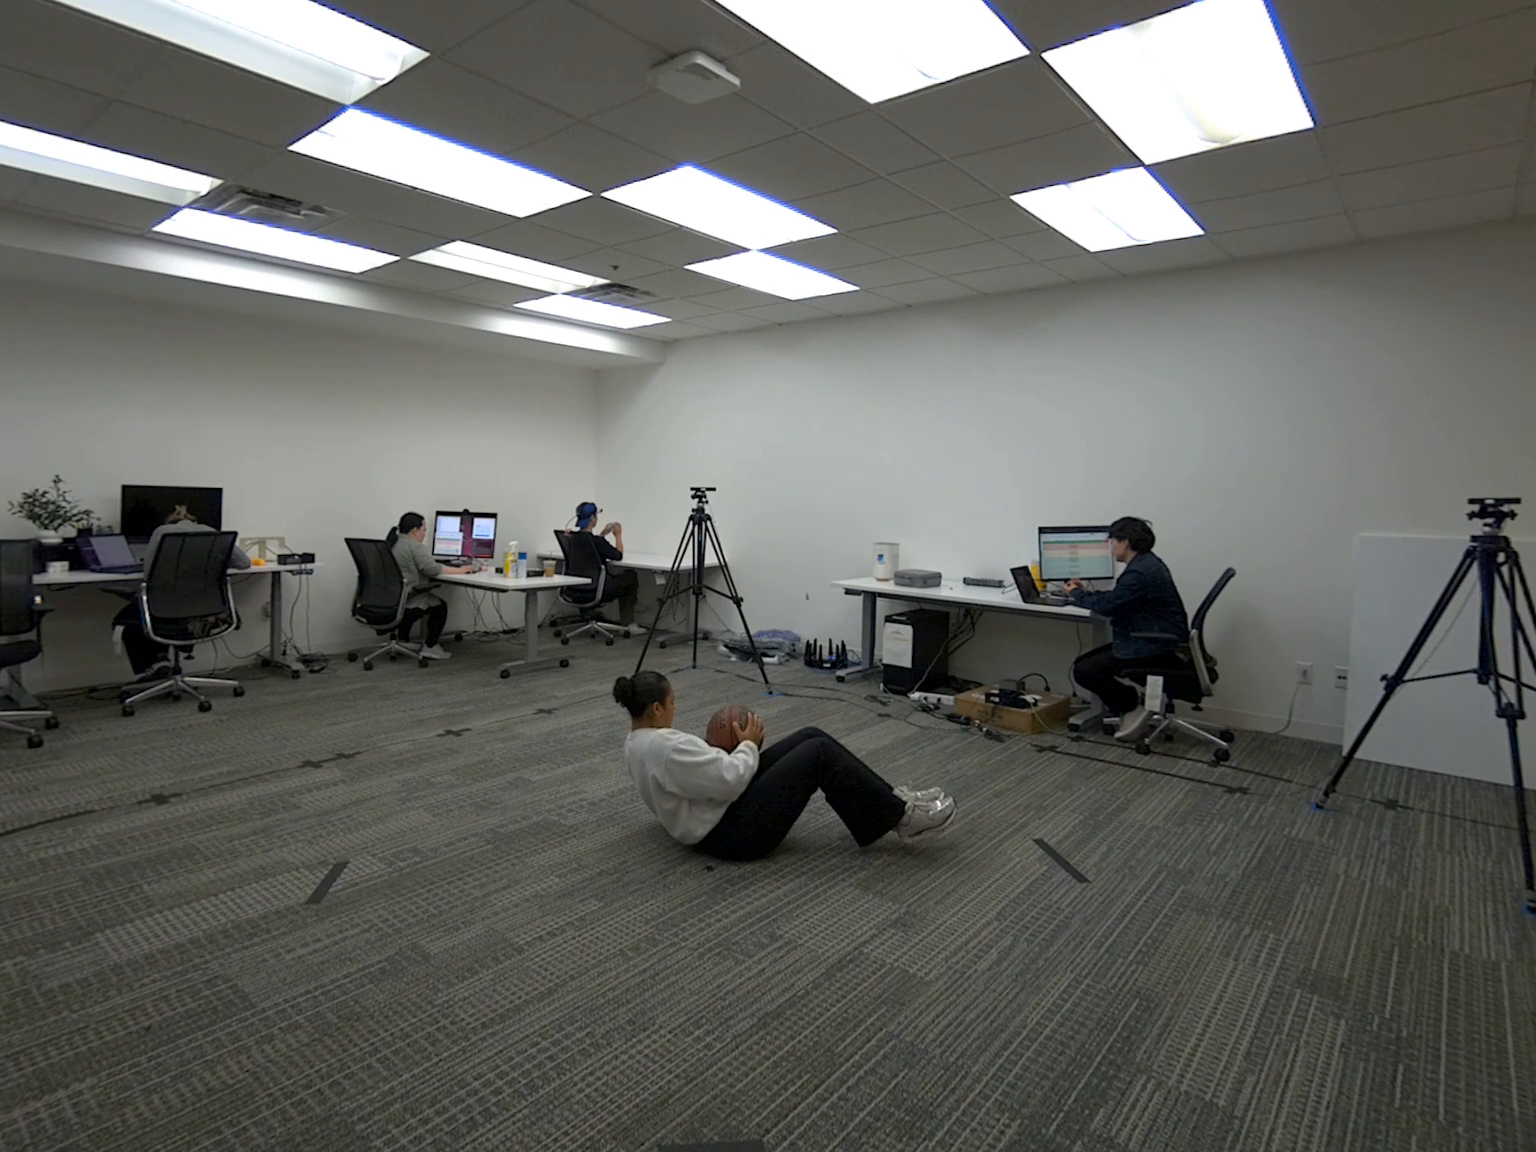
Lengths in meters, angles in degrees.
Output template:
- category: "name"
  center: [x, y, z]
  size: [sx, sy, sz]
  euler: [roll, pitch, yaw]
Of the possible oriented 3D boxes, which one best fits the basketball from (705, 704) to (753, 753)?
- category: "basketball"
  center: [-0.150, 0.655, 3.488]
  size: [0.235, 0.235, 0.237]
  euler: [1, 4, -2]
